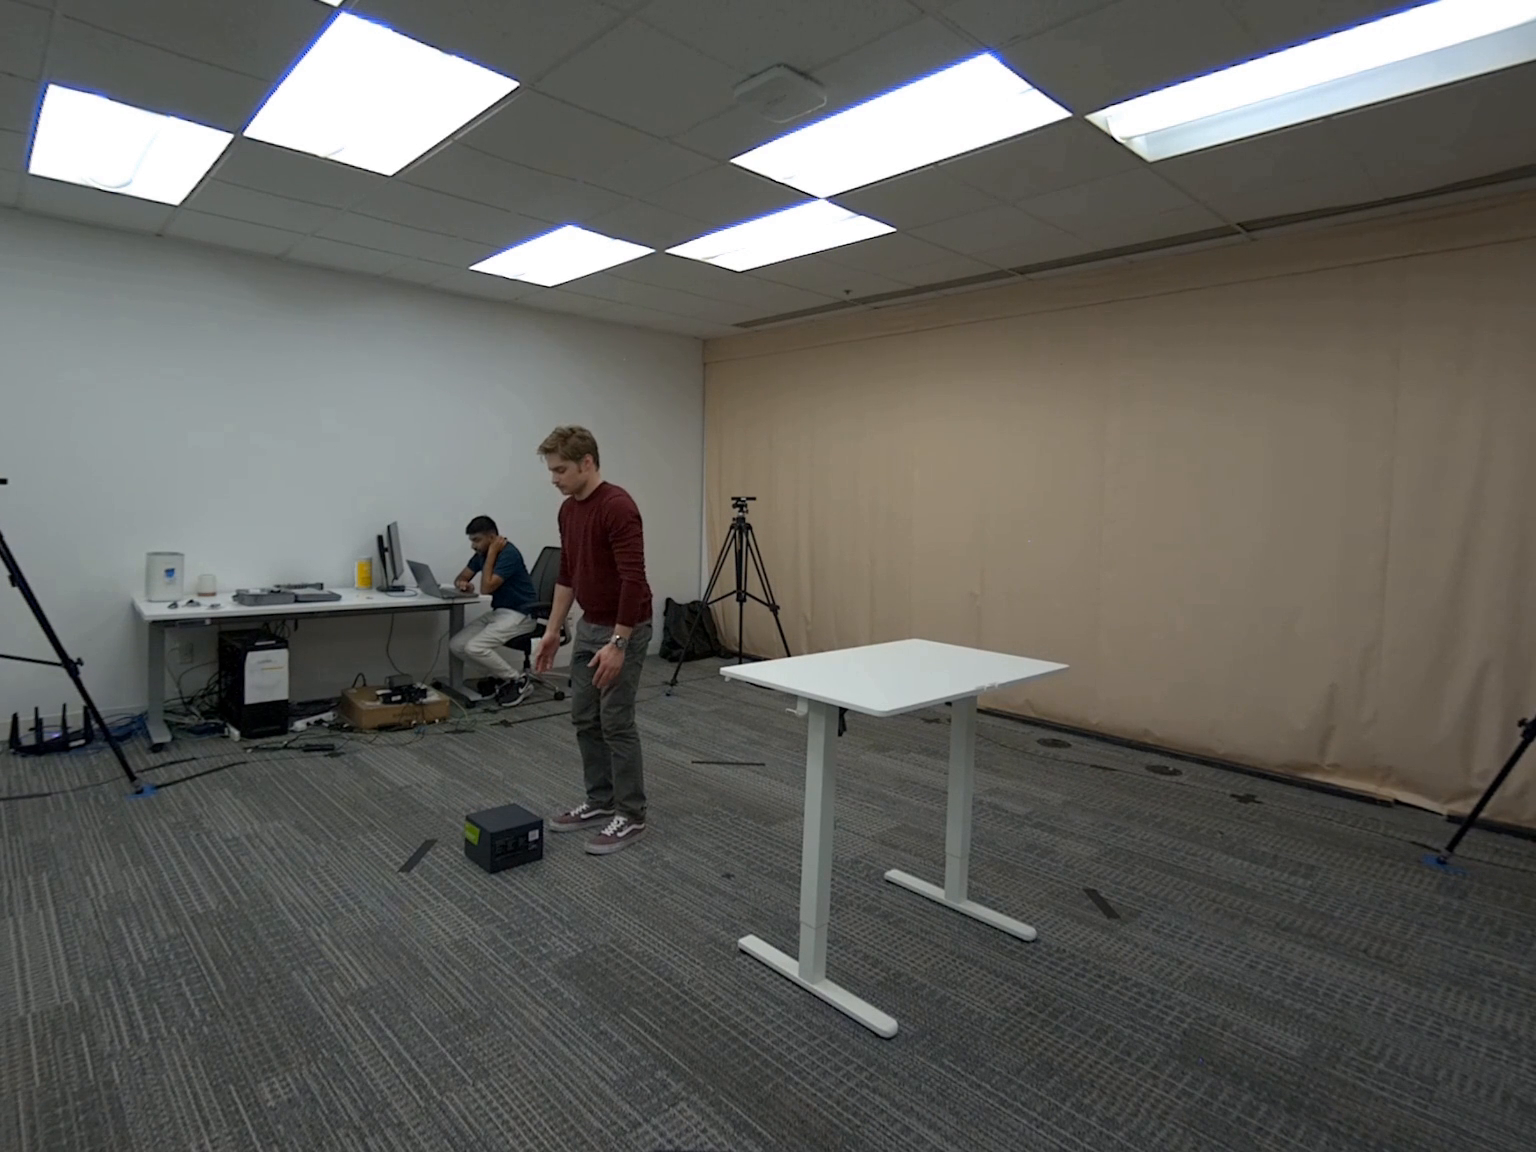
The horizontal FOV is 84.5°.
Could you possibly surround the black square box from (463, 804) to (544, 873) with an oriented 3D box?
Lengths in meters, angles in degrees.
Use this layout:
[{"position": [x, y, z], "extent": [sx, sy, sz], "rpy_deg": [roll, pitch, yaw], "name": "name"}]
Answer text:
[{"position": [-1.018, 0.996, 3.215], "extent": [0.212, 0.155, 0.234], "rpy_deg": [-3, 6, -43], "name": "black square box"}]
